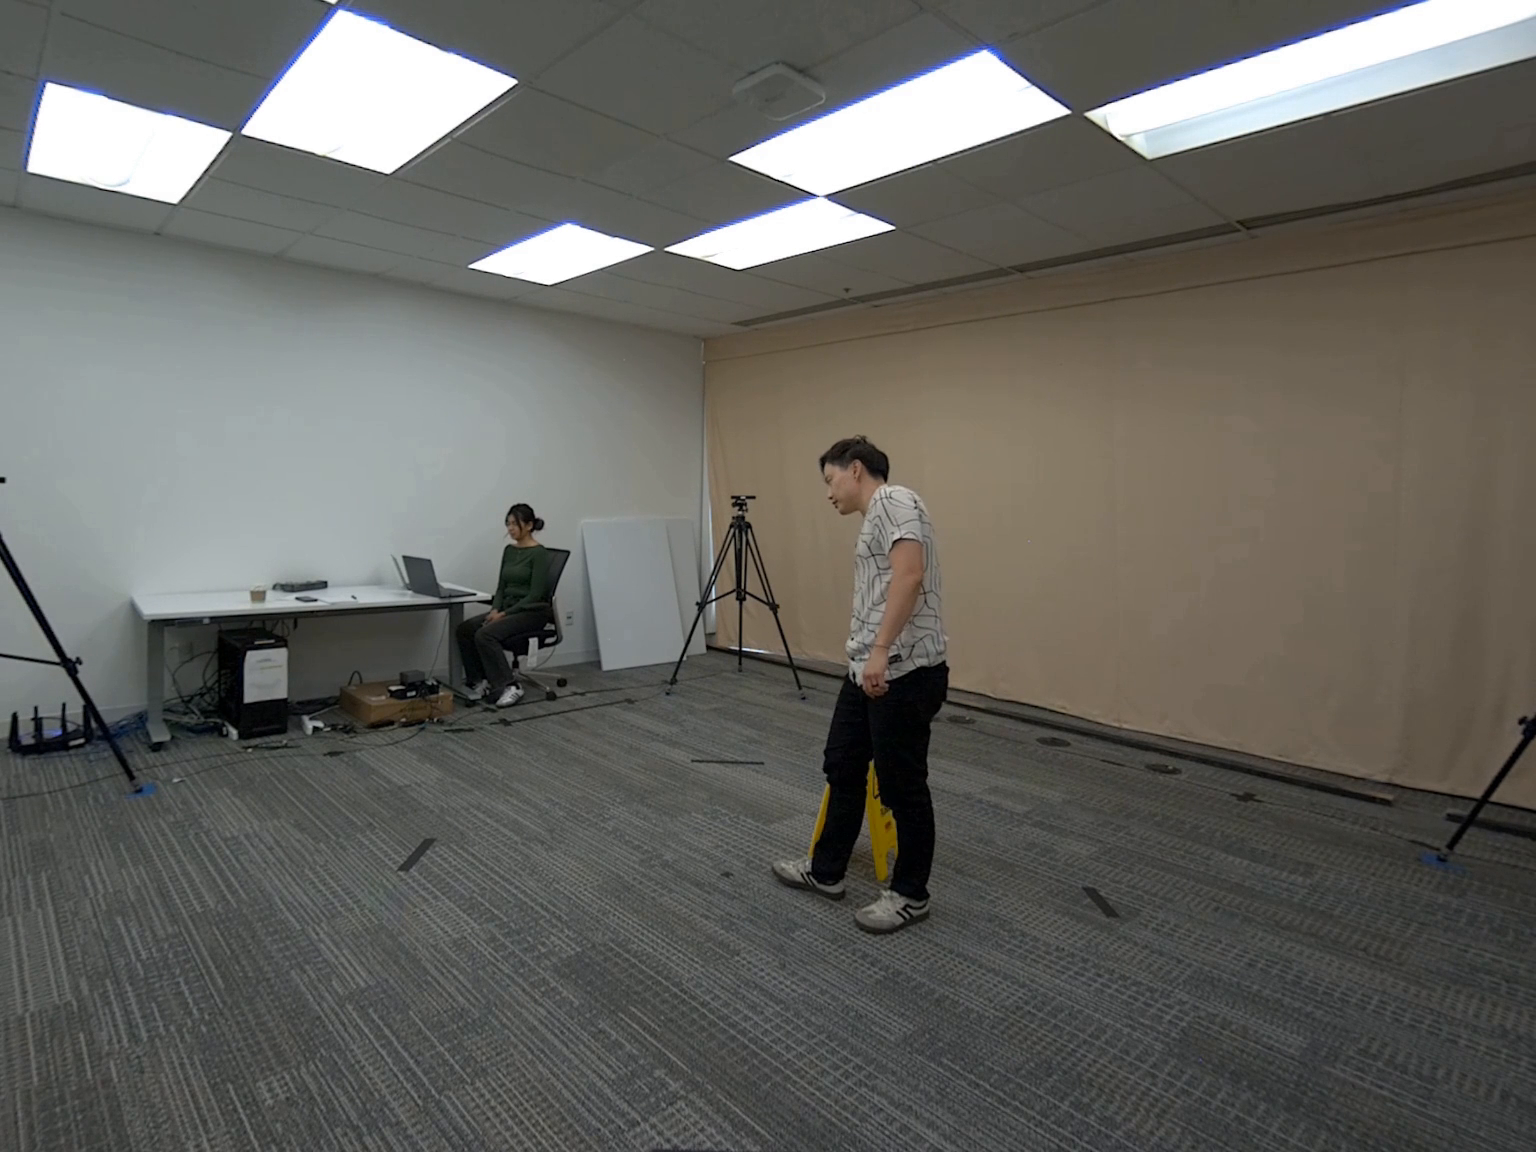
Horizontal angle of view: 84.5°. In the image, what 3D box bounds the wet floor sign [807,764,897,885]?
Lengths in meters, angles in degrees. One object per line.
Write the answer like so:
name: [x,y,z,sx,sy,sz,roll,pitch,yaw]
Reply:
wet floor sign: [0.340,0.780,3.241,0.296,0.645,0.277,2,2,28]
